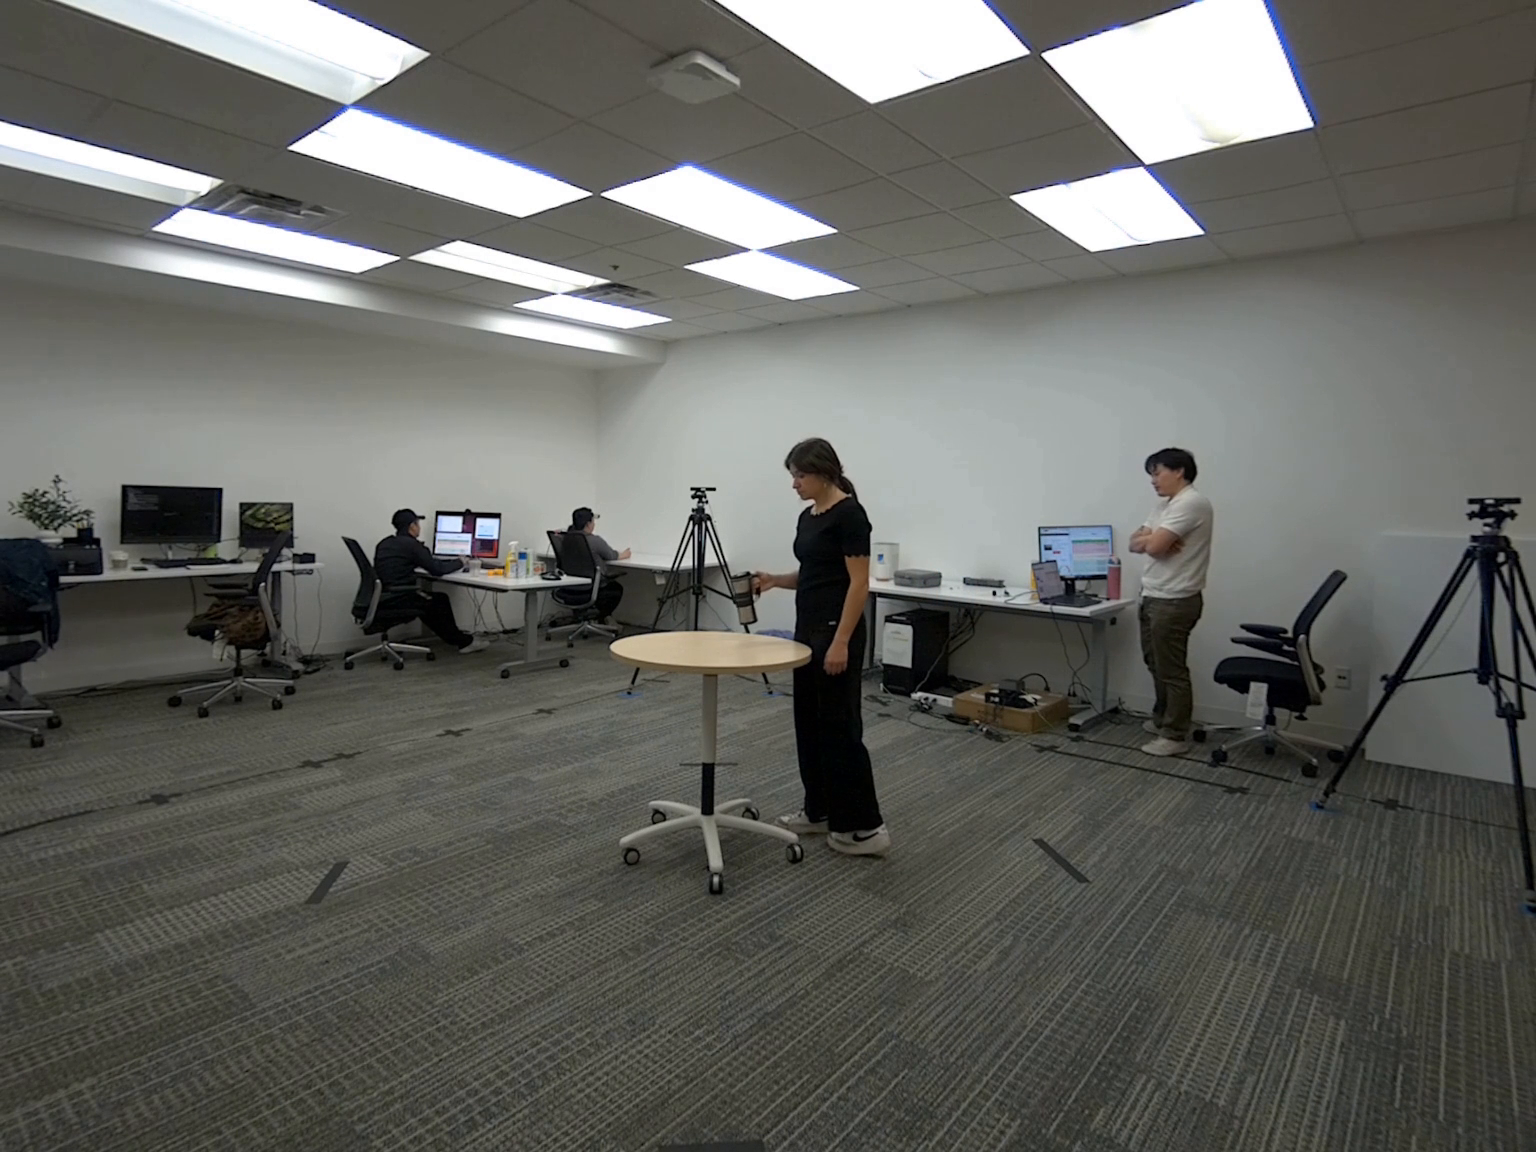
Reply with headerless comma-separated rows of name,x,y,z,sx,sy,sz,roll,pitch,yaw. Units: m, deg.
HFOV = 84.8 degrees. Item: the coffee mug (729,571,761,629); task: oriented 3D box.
coffee mug,-0.091,0.089,3.396,0.124,0.203,0.086,-11,0,28
